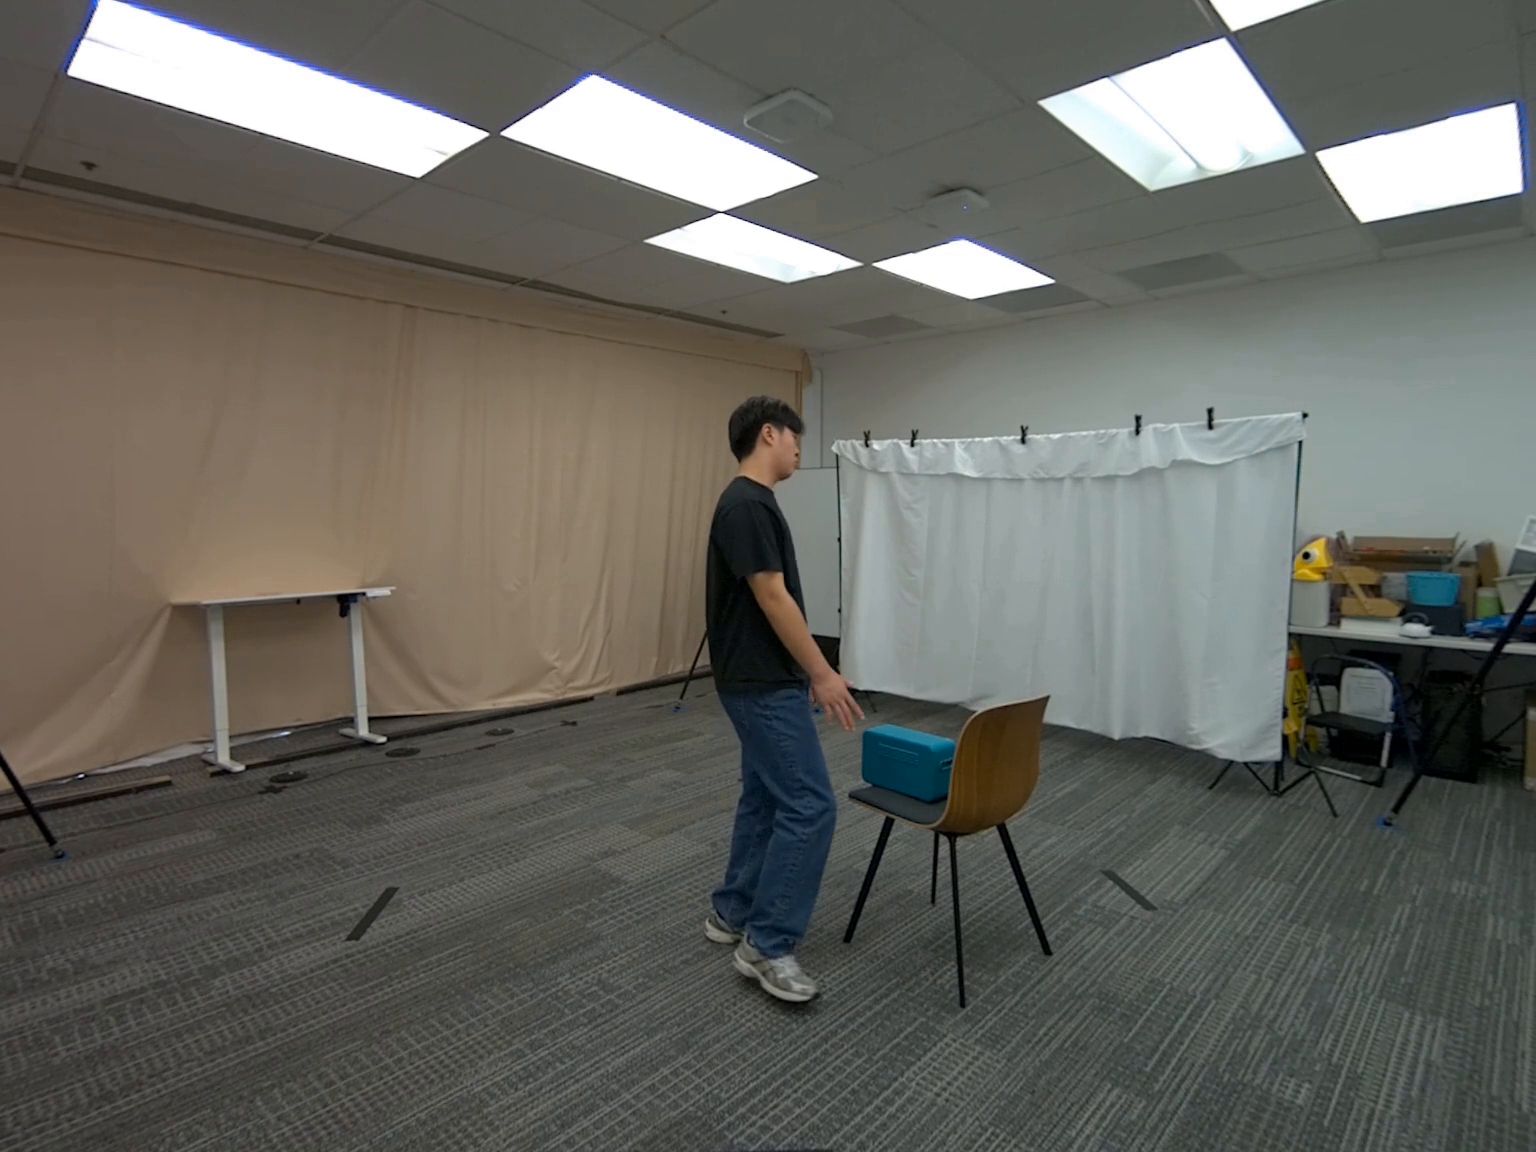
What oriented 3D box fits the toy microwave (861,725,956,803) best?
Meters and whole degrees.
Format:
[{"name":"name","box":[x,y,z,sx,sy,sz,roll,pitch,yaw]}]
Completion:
[{"name":"toy microwave","box":[0.462,0.597,2.703,0.147,0.184,0.296,-1,4,-43]}]
